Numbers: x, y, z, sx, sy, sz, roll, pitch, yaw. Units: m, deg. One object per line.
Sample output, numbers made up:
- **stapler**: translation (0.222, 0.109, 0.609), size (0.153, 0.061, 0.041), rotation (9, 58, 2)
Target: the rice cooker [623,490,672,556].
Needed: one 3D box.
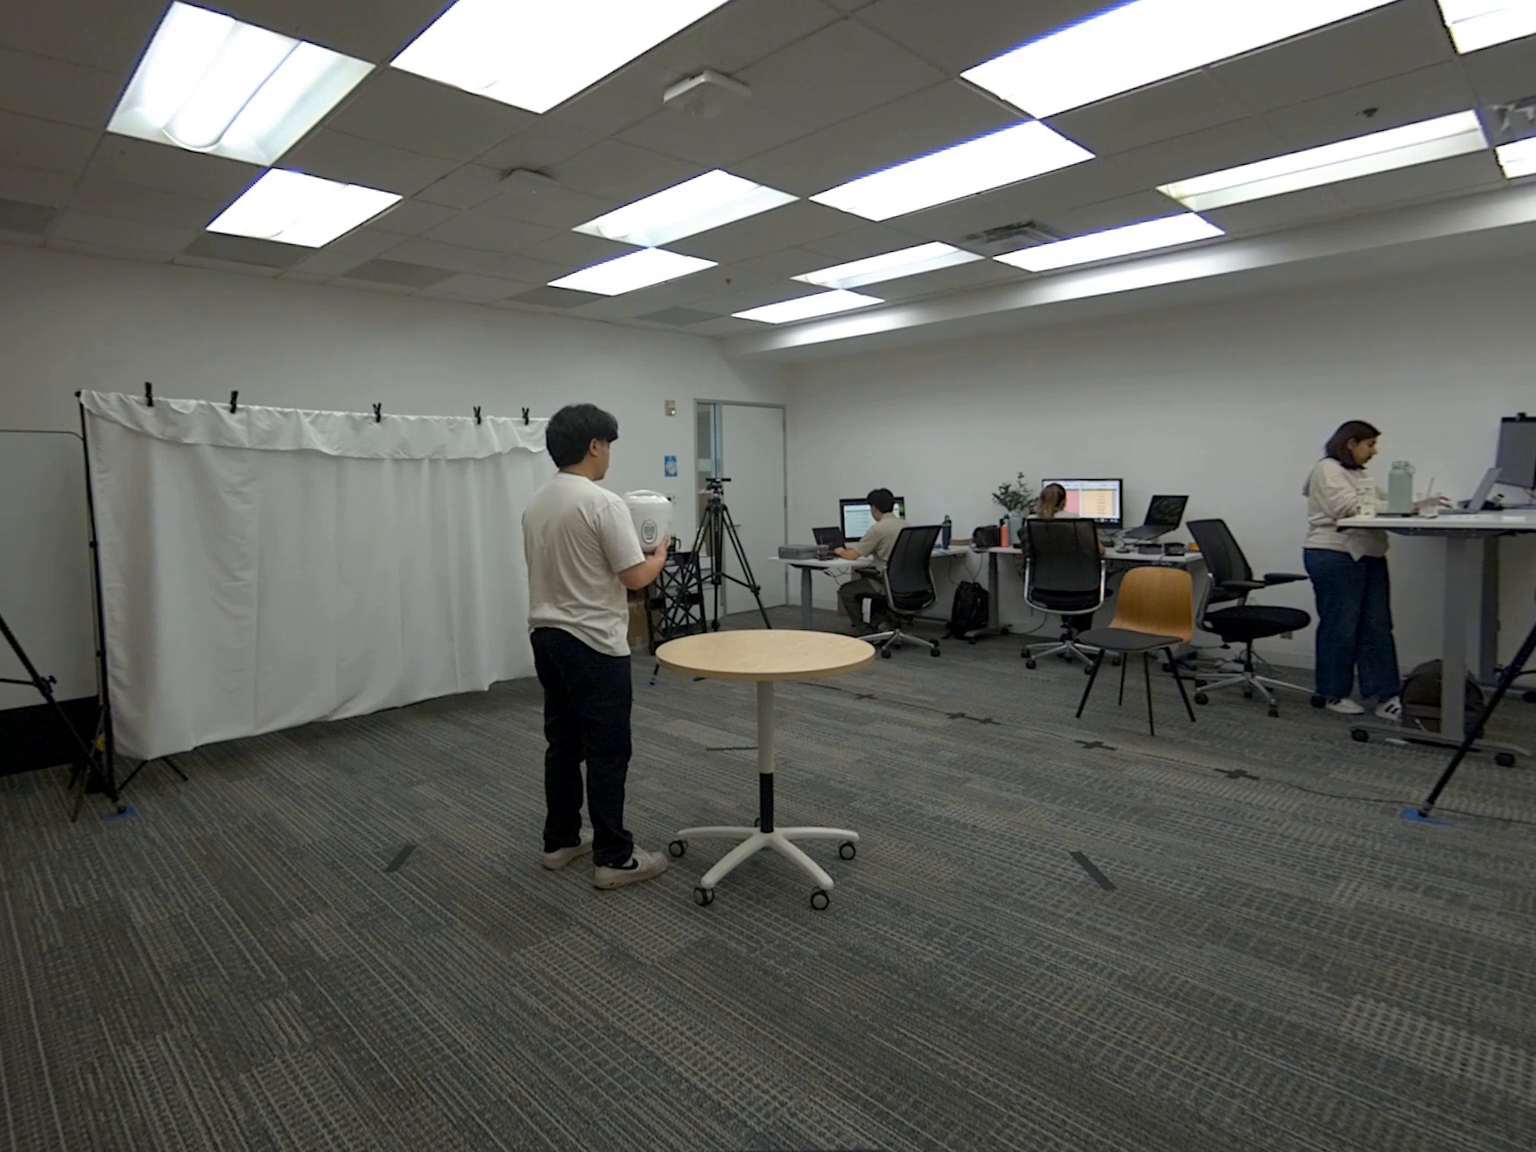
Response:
- **rice cooker**: translation (-0.475, -0.213, 3.278), size (0.217, 0.232, 0.221), rotation (-3, 5, -17)
